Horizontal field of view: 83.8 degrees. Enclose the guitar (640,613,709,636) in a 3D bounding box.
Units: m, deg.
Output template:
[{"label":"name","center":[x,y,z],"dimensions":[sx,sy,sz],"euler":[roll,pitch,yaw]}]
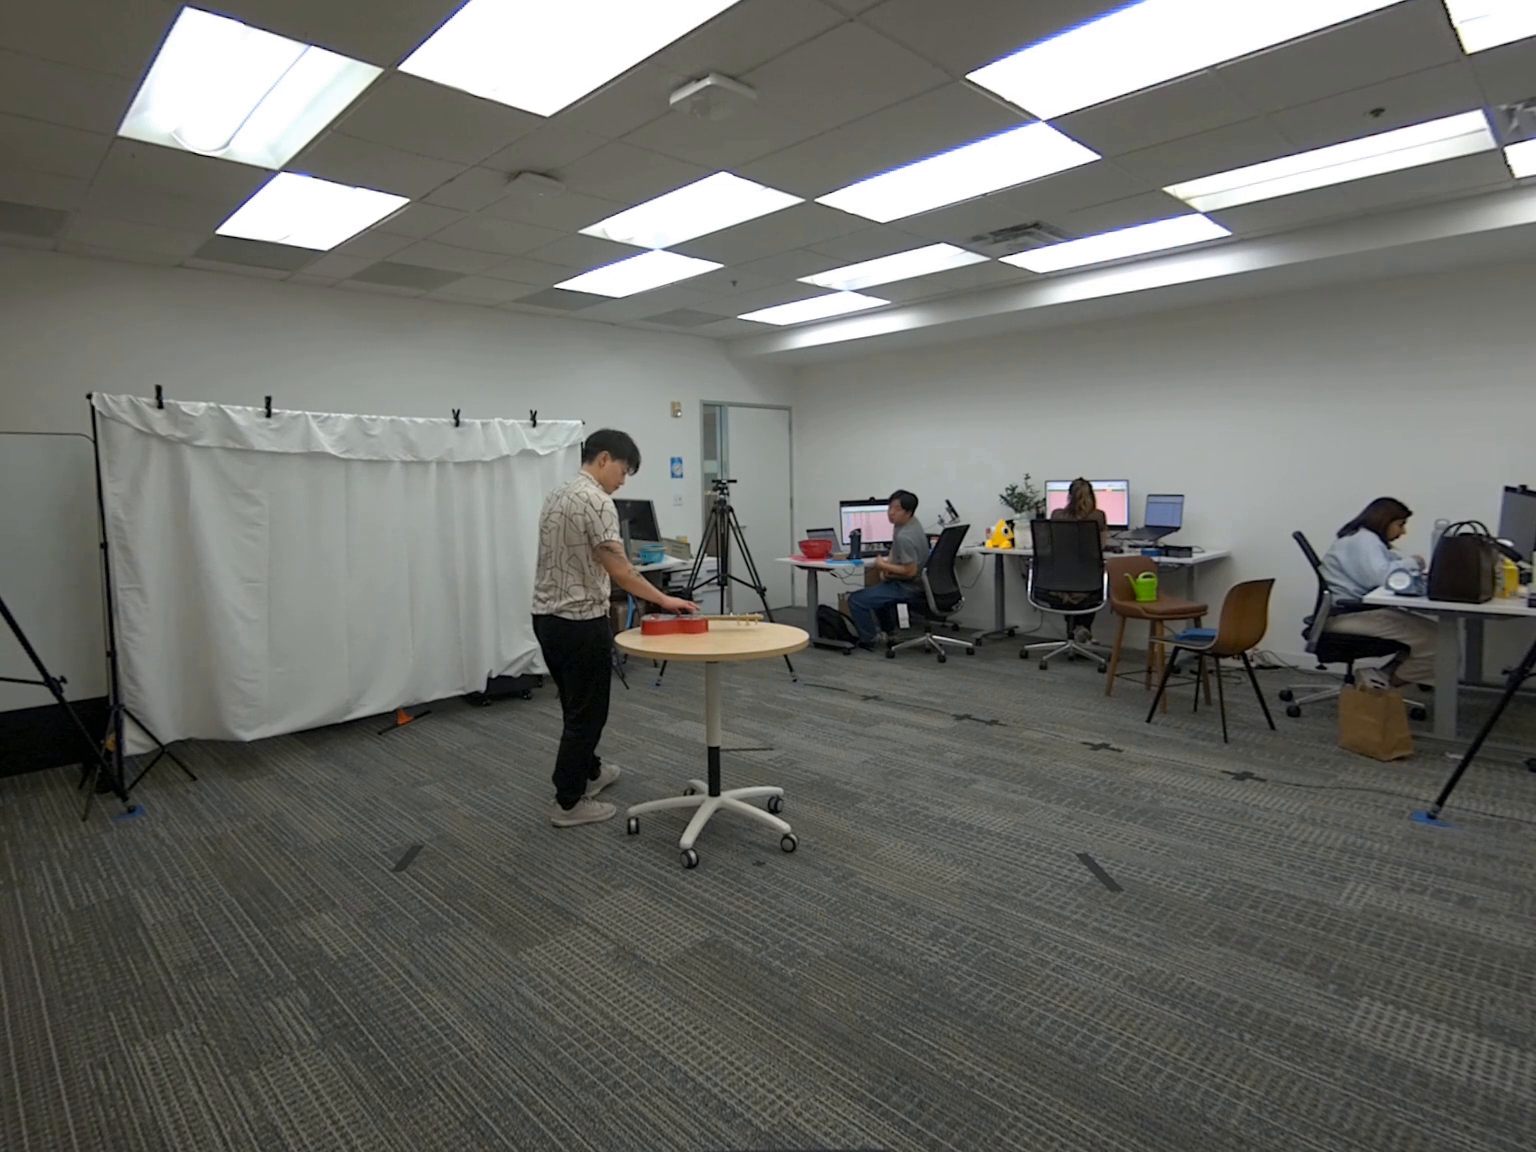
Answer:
[{"label":"guitar","center":[-0.276,0.194,3.467],"dimensions":[0.502,0.070,0.192],"euler":[-1,2,8]}]
